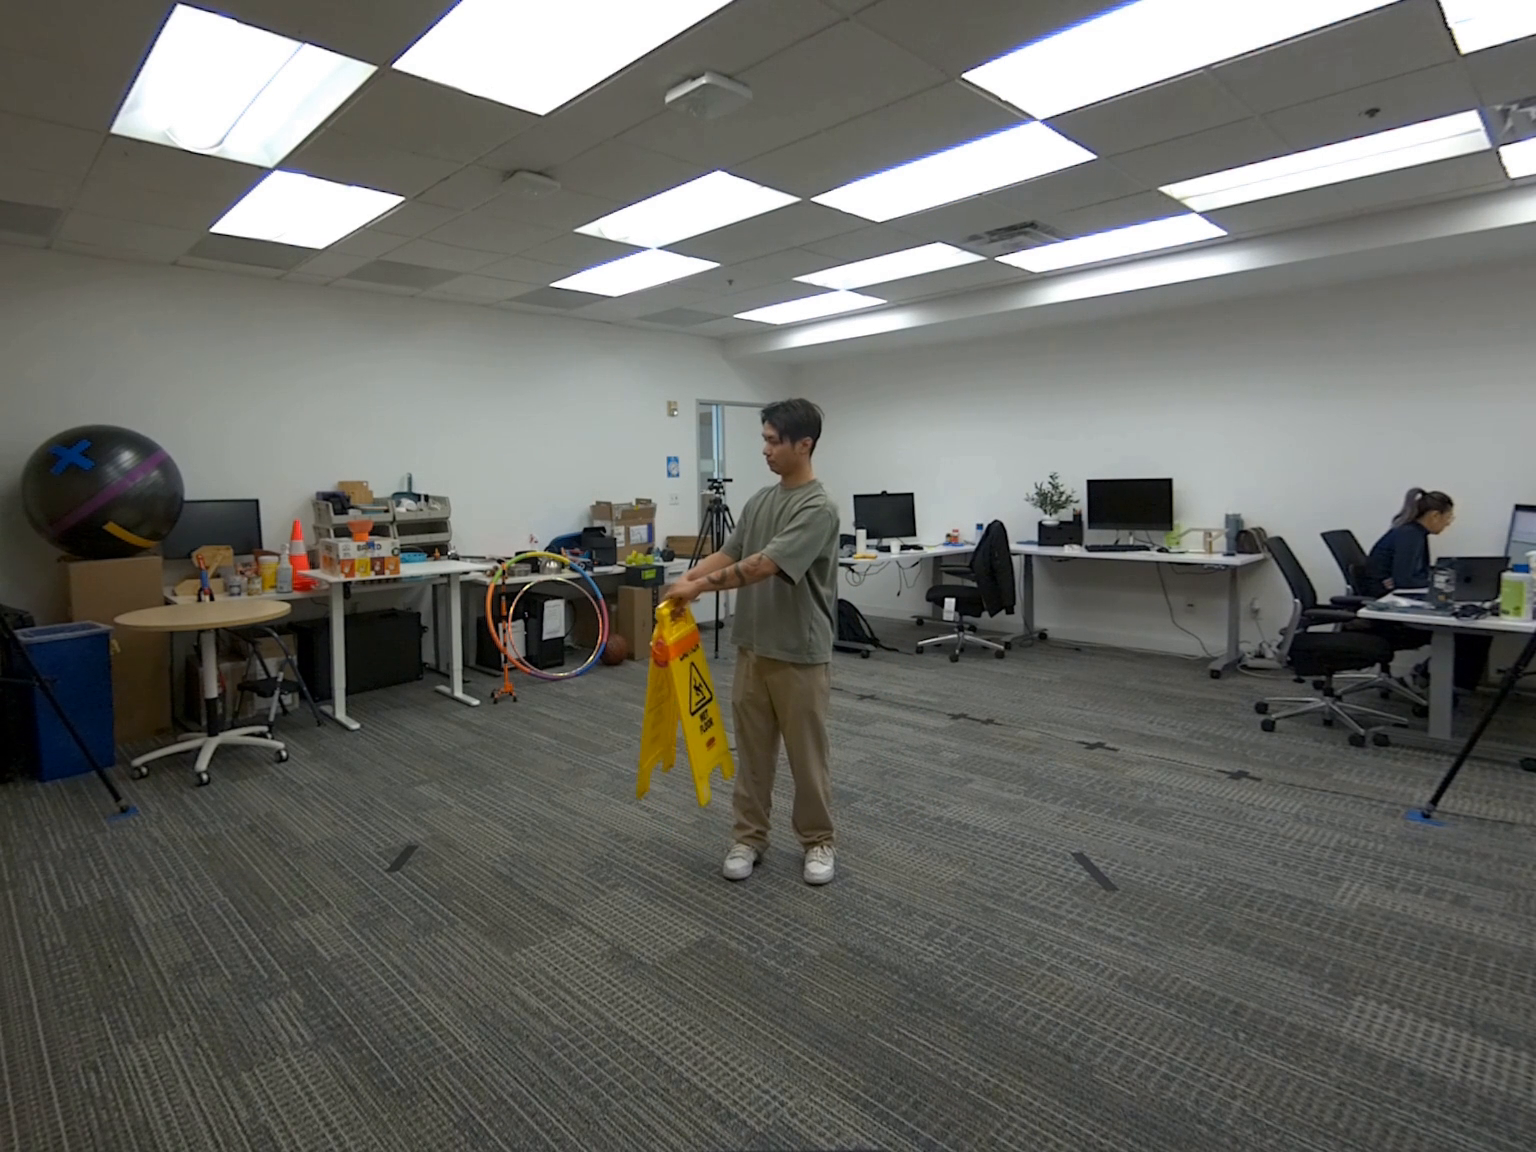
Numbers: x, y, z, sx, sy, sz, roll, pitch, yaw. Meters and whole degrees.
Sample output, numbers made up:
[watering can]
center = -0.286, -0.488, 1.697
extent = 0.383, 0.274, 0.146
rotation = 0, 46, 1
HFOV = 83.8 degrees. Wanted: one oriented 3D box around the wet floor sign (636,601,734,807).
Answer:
[wet floor sign]
center = -0.303, 0.400, 2.866
extent = 0.295, 0.641, 0.279
rotation = 0, 9, 21
